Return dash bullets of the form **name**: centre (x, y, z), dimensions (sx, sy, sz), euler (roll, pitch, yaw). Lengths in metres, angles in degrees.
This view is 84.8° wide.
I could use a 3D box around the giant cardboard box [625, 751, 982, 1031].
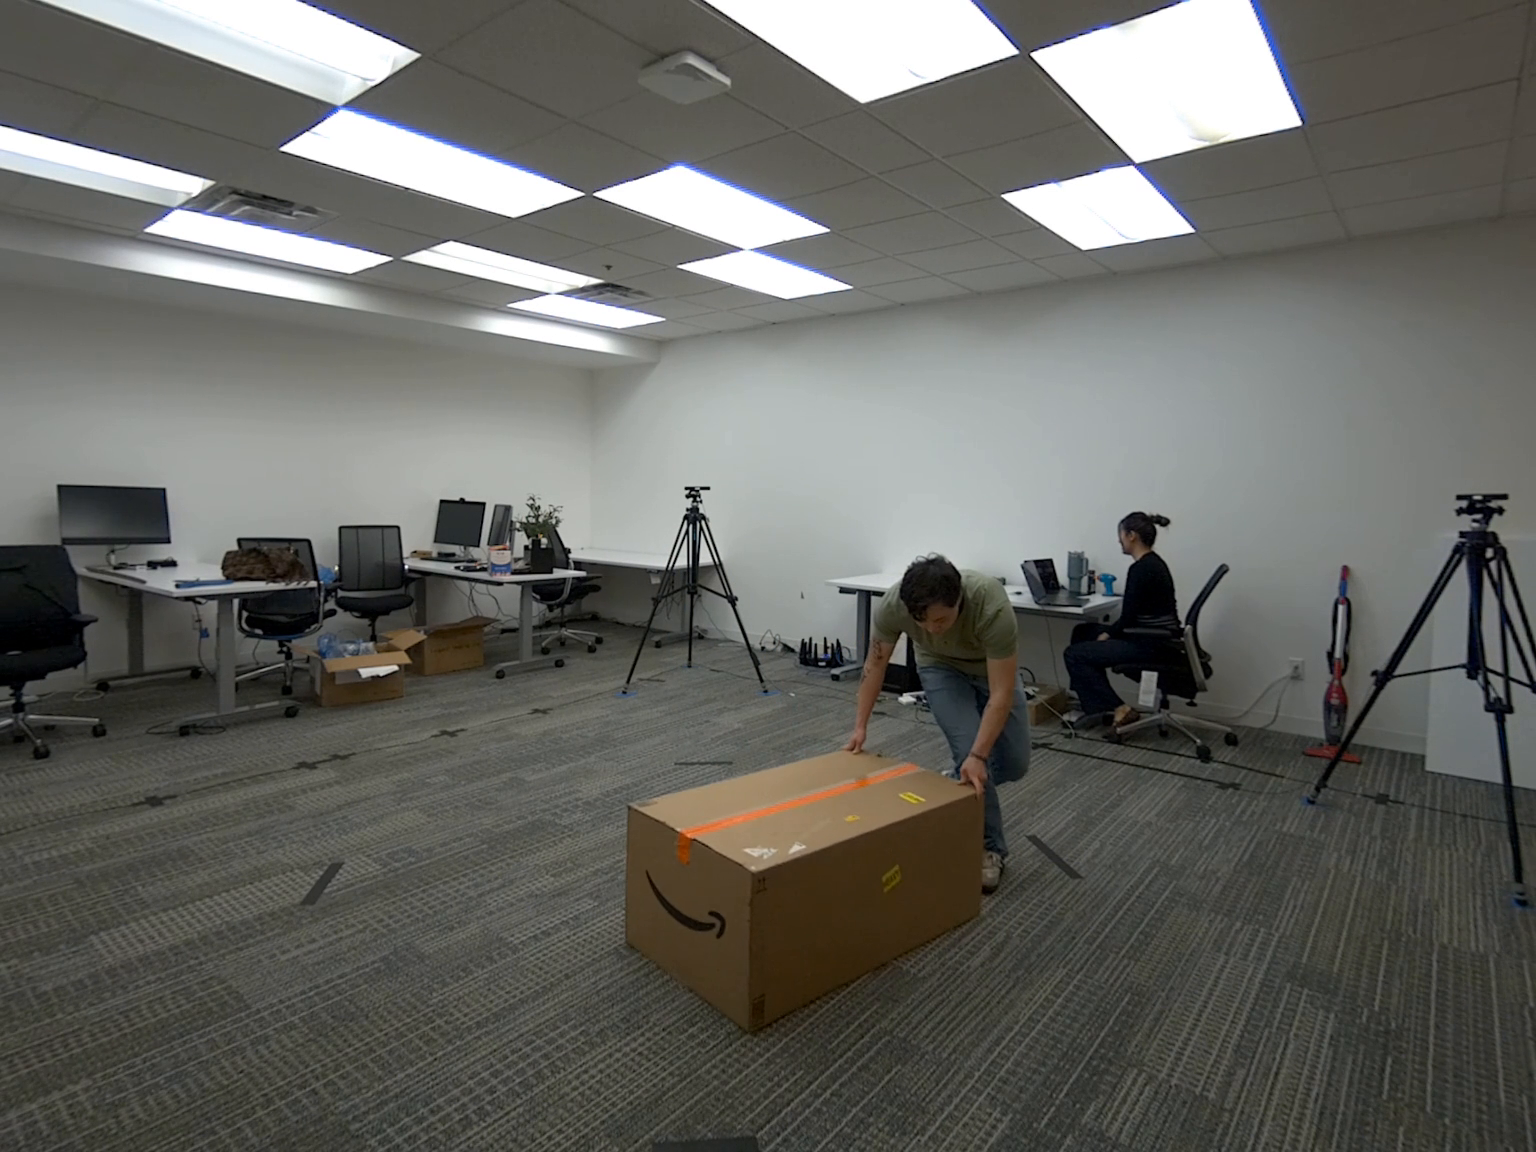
- **giant cardboard box**: centre (0.128, 0.902, 2.689), dimensions (0.995, 0.424, 0.597), euler (-3, 7, -41)
